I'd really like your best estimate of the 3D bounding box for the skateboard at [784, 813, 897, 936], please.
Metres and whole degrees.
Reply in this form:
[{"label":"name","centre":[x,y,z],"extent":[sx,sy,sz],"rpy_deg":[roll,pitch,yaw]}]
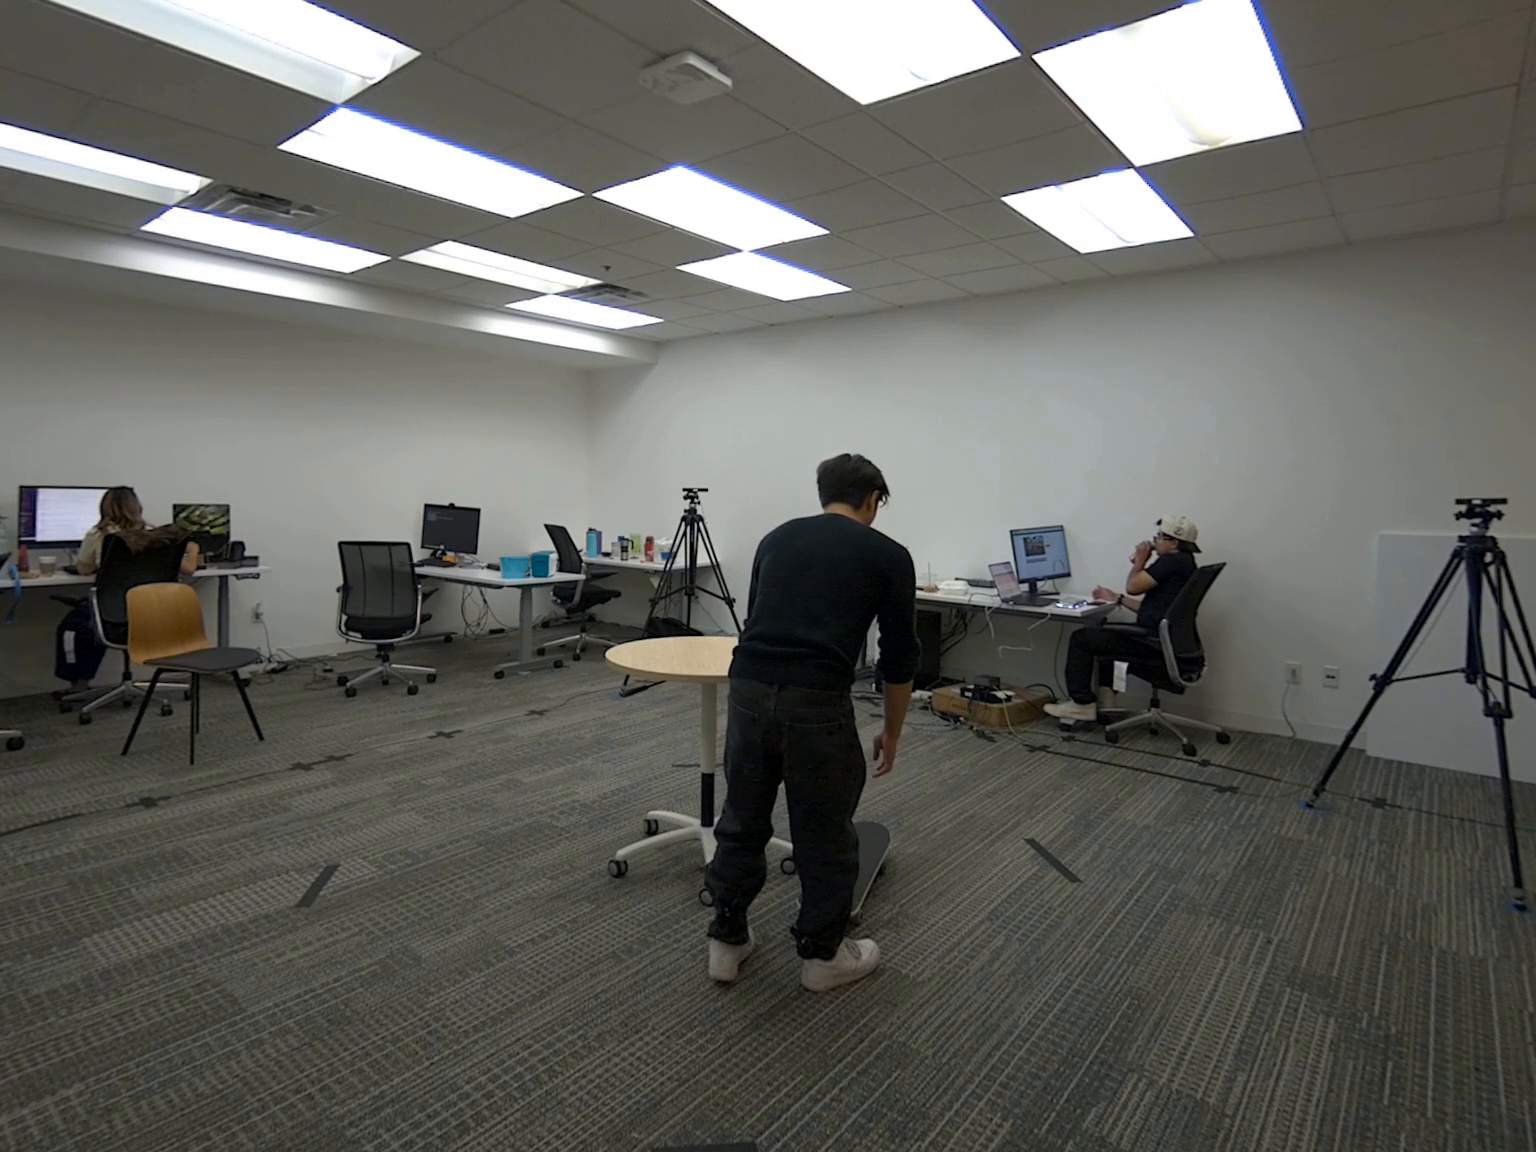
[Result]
[{"label":"skateboard","centre":[0.274,1.033,2.950],"extent":[0.198,0.110,0.771],"rpy_deg":[3,6,20]}]
